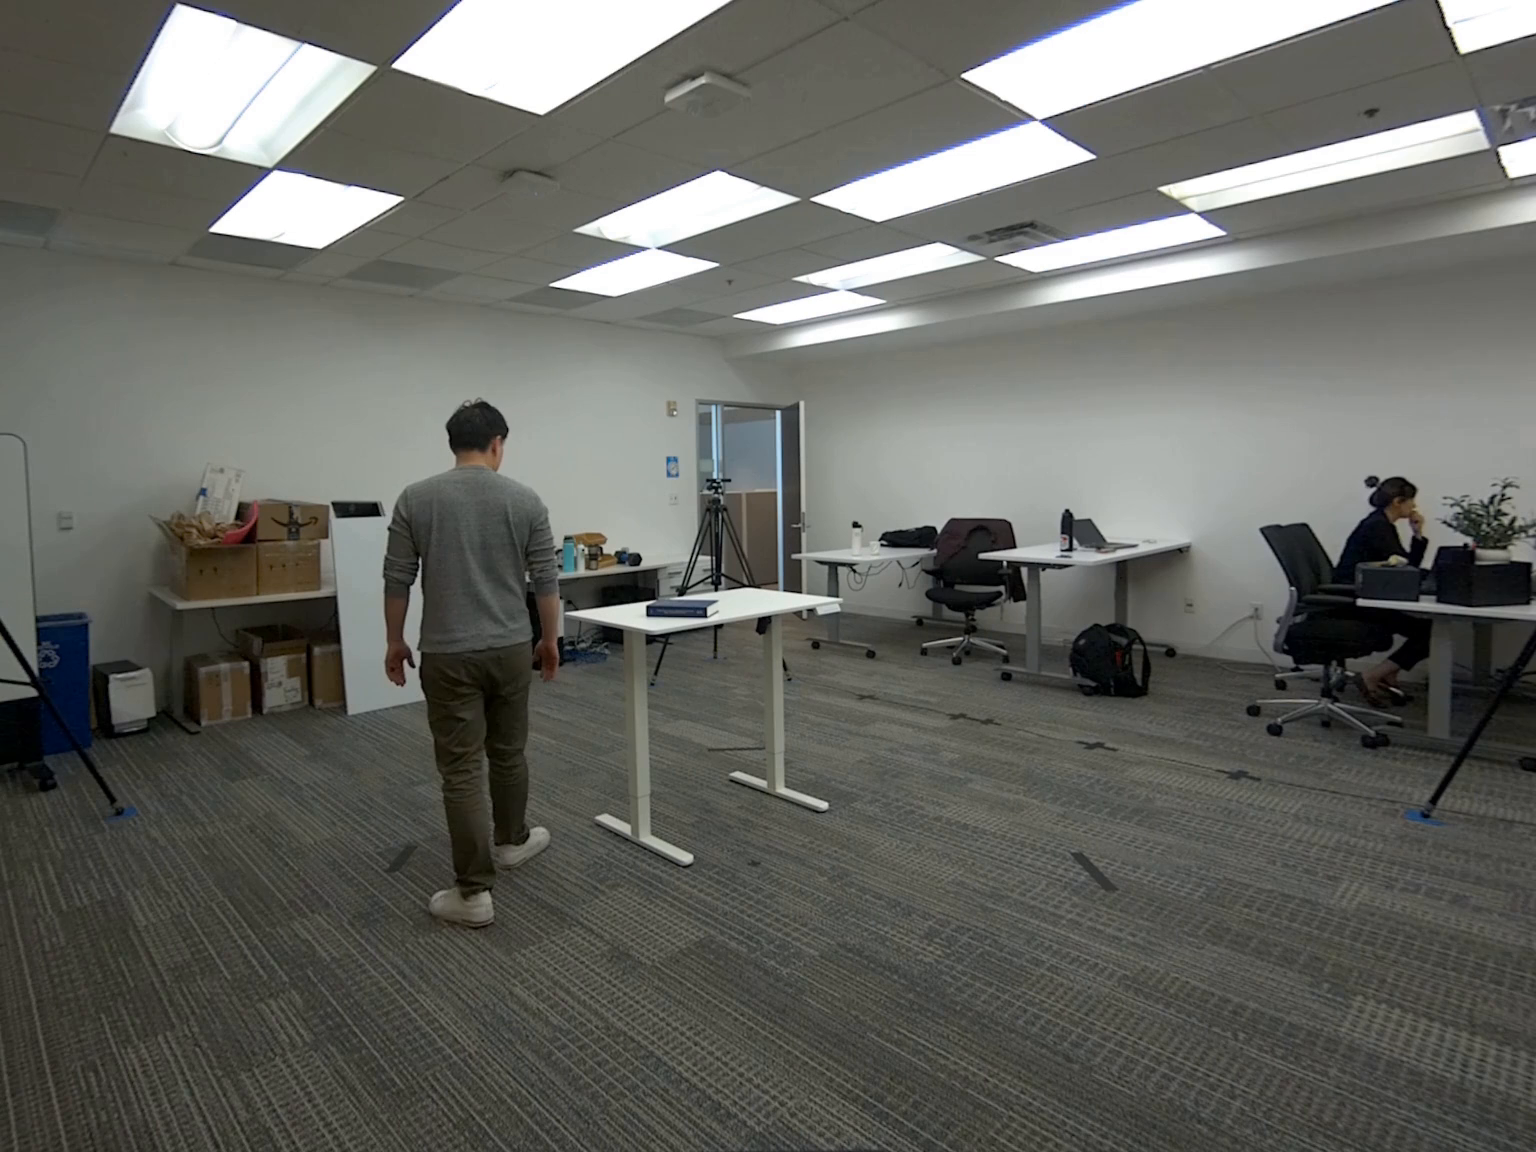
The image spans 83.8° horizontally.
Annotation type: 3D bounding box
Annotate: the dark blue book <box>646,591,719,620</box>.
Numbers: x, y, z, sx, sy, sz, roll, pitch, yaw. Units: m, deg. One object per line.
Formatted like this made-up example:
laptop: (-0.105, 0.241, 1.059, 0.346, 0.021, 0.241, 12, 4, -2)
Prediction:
dark blue book: (-0.330, 0.126, 3.284, 0.249, 0.045, 0.162, 0, 8, 16)
